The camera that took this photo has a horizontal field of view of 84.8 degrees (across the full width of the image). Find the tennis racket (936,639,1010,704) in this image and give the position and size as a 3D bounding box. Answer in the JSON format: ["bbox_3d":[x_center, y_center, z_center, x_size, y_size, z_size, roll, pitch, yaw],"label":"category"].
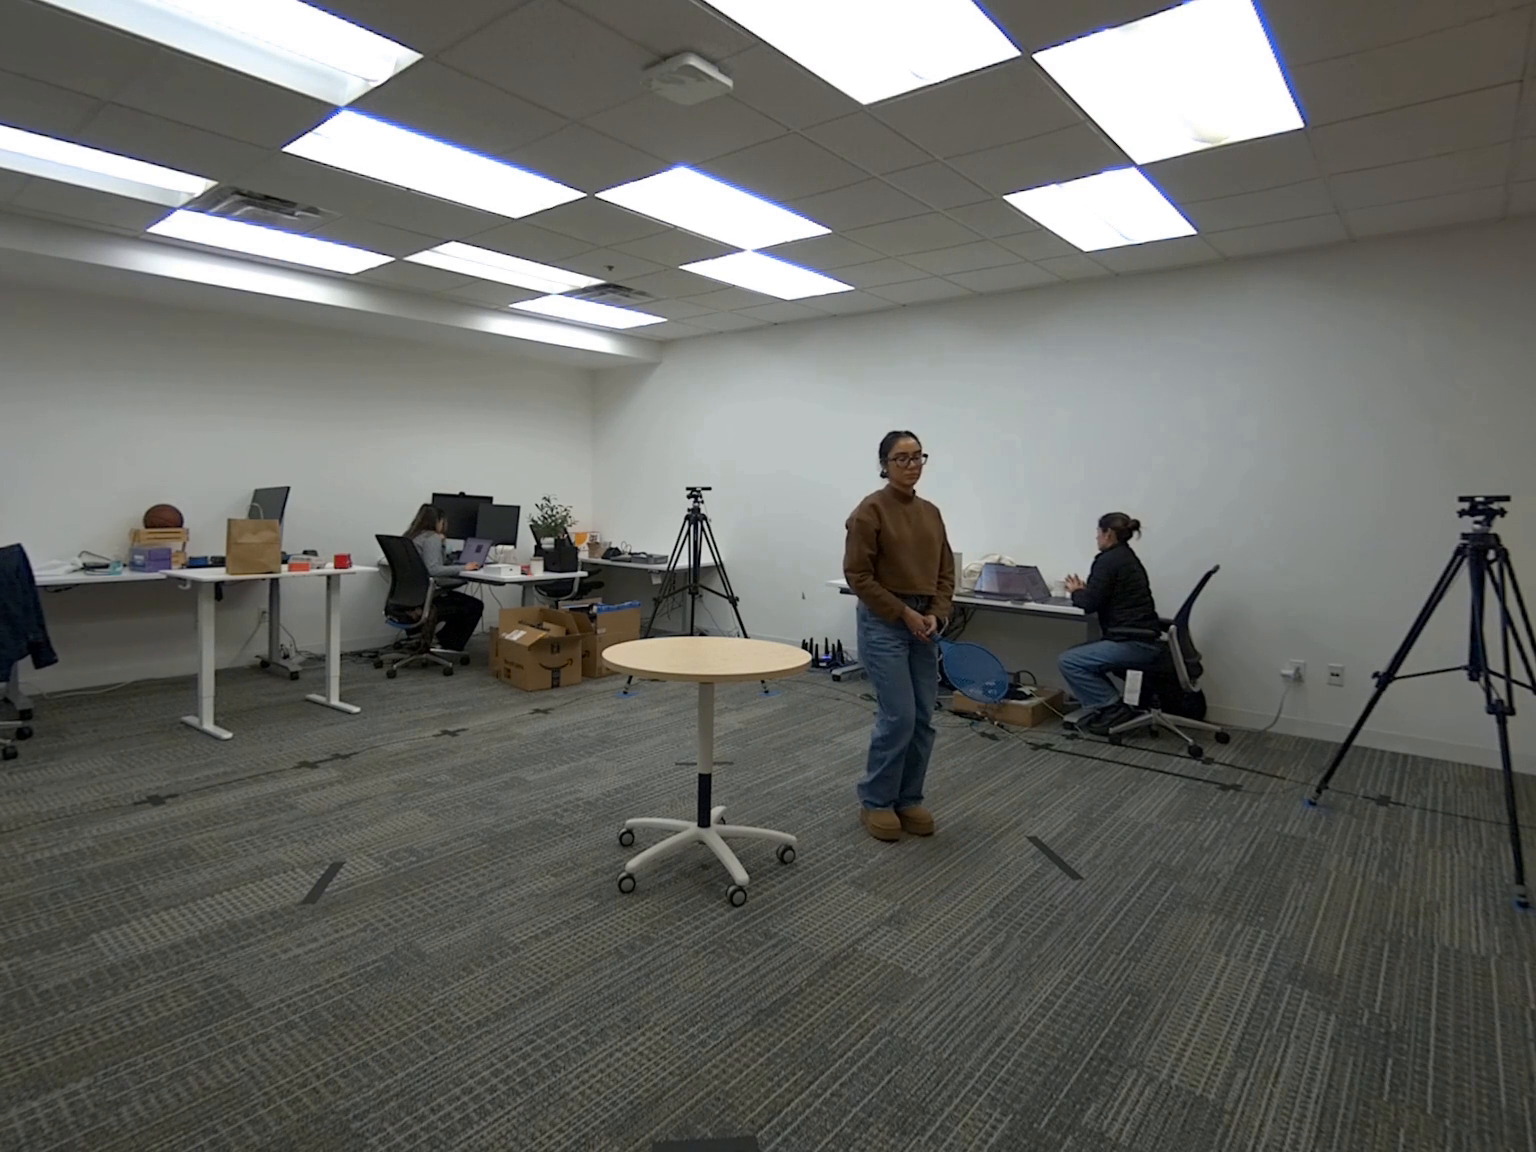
[{"bbox_3d":[0.742,0.306,3.307,0.213,0.447,0.031,-39,-25,-18],"label":"tennis racket"}]
